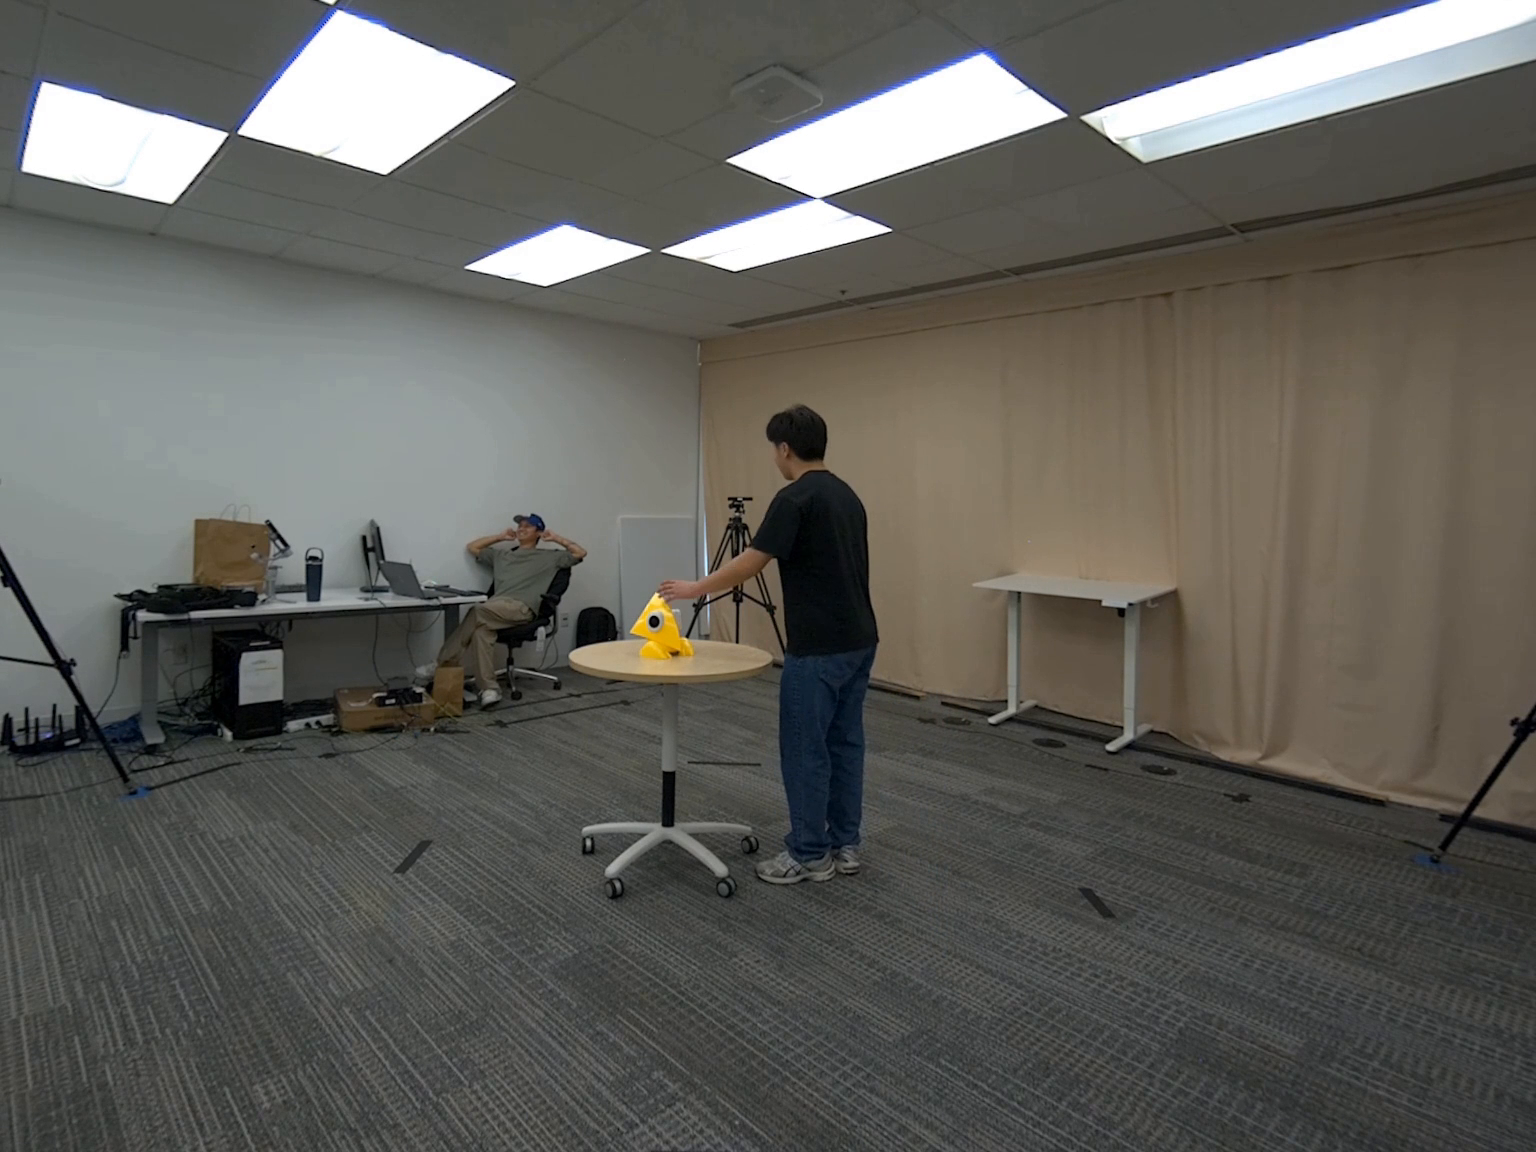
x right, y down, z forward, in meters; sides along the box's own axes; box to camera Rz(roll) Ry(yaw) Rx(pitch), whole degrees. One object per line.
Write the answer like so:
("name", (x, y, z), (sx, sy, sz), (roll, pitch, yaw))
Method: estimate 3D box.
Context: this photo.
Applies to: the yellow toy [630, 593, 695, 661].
("yellow toy", (-0.396, 0.181, 3.203), (0.200, 0.230, 0.198), (-2, 5, -44))
